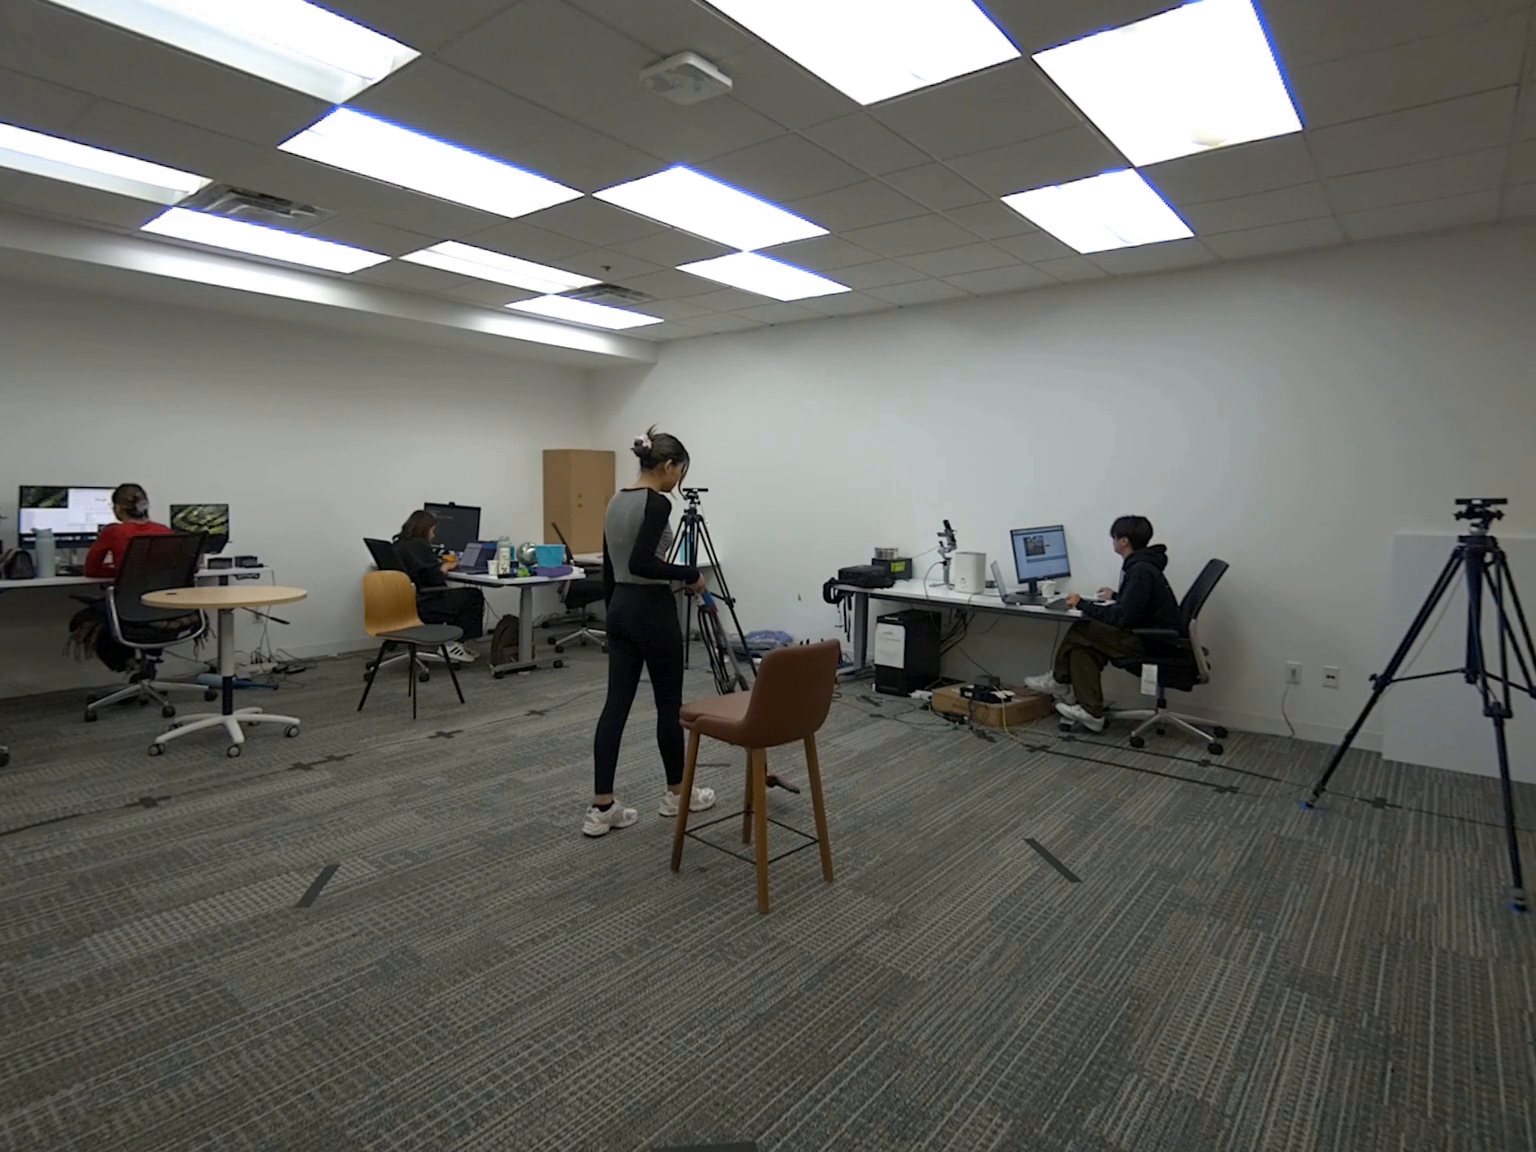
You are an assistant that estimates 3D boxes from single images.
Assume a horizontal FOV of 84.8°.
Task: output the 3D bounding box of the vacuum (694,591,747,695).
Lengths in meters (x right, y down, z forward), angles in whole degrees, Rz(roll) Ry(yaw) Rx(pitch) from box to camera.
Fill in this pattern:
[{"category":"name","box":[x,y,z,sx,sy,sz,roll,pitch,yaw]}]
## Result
[{"category":"vacuum","box":[-0.161,0.451,3.605,0.142,1.026,0.261,-33,23,-35]}]
